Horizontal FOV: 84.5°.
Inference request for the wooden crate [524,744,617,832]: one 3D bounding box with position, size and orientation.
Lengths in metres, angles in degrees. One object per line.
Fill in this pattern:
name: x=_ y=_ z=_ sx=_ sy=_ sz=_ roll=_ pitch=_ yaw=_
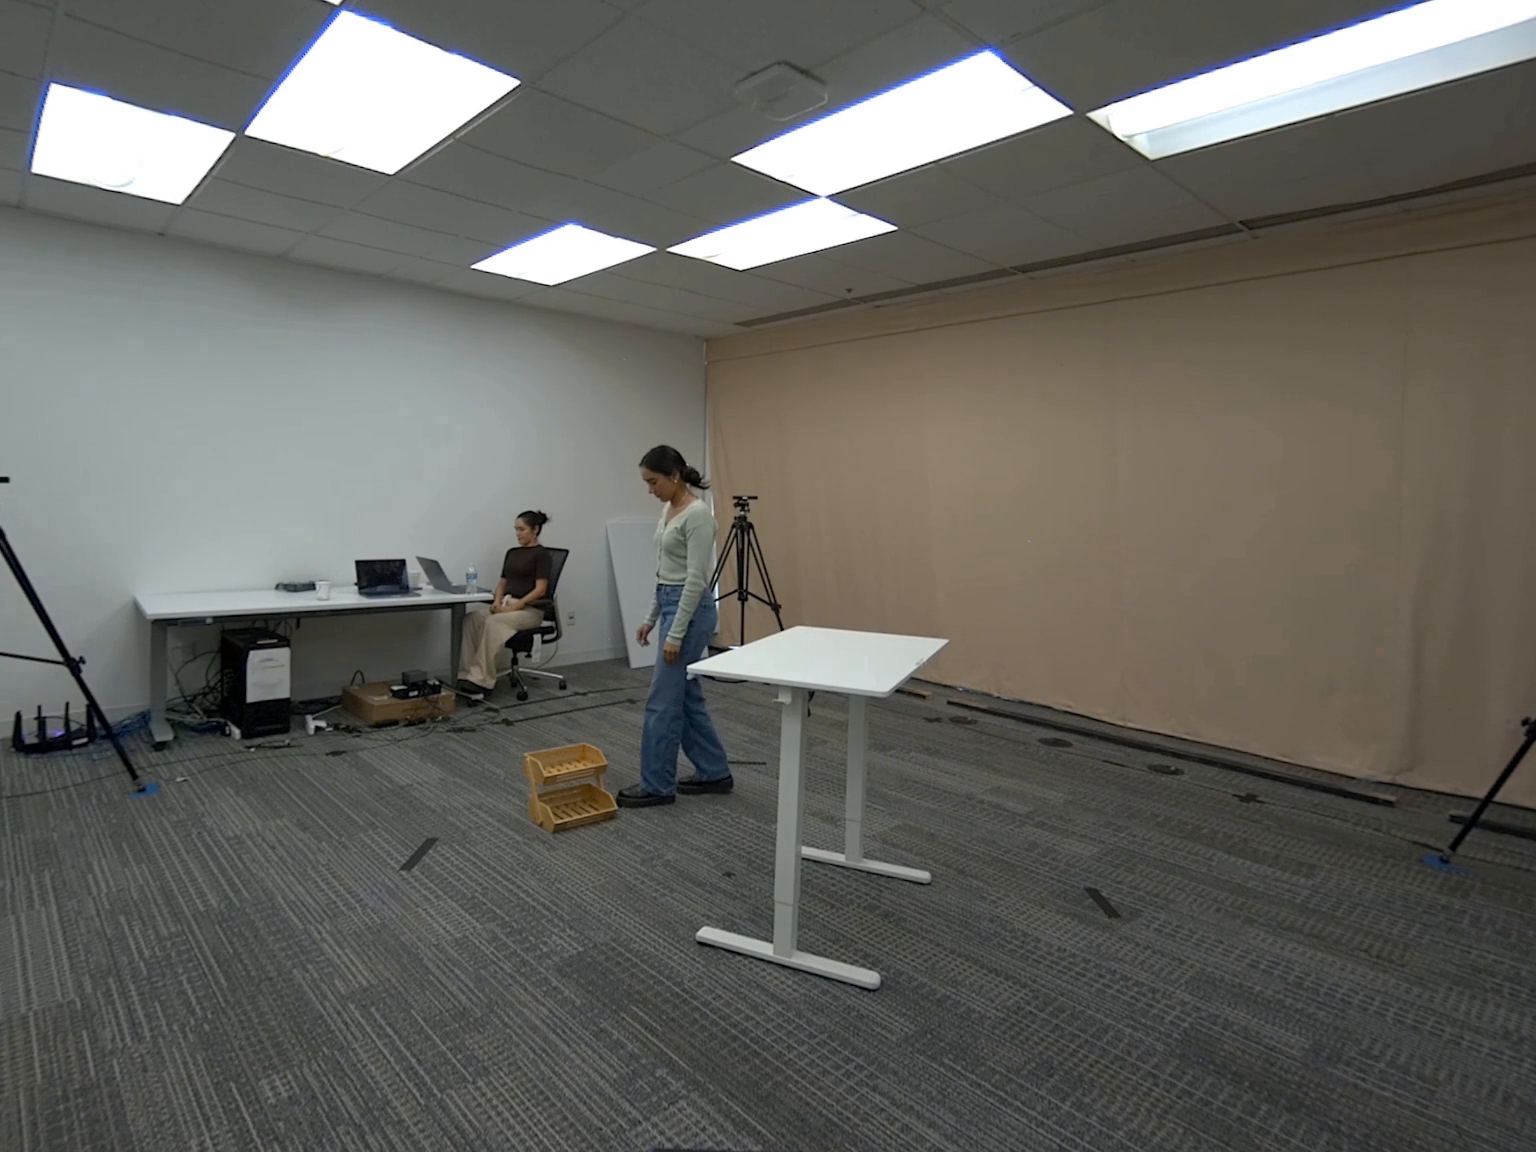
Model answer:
wooden crate: x=-0.864 y=0.905 z=3.636 sx=0.317 sy=0.273 sz=0.310 roll=-2 pitch=5 yaw=-40
